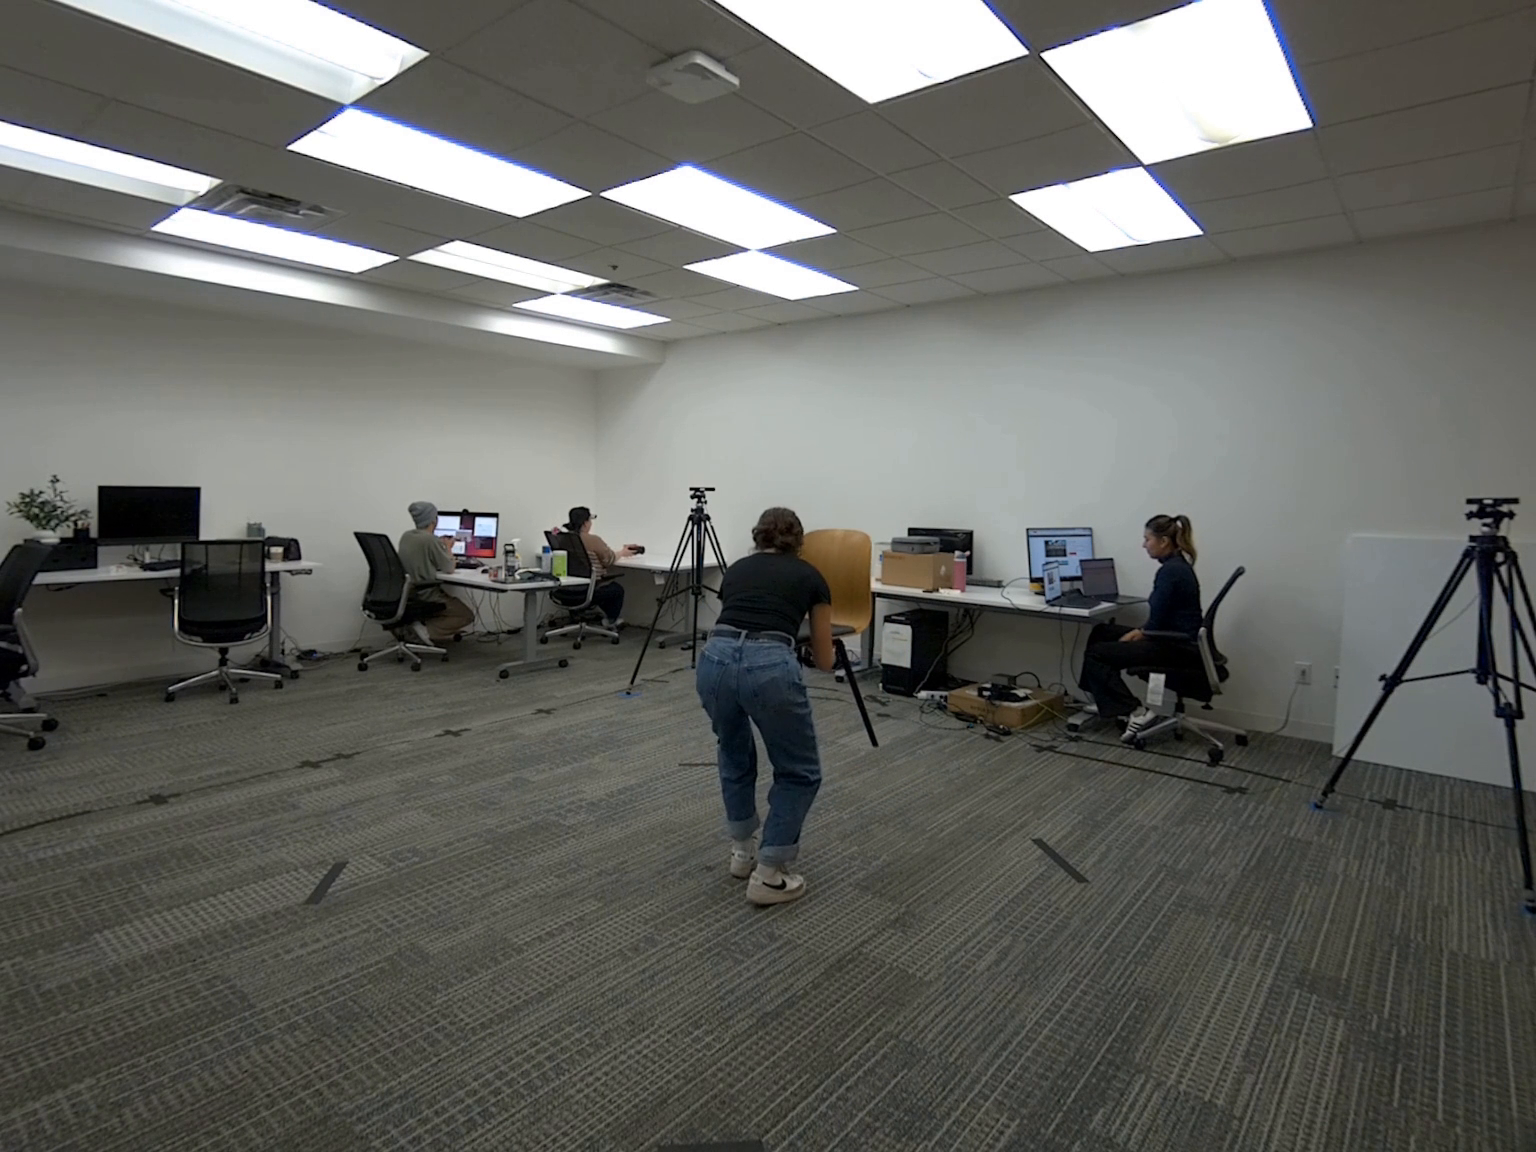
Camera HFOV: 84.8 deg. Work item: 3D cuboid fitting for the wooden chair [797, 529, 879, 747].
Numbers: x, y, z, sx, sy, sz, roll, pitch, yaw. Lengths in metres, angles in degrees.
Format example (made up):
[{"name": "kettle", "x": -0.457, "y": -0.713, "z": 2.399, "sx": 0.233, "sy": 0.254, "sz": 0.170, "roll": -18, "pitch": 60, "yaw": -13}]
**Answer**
[{"name": "wooden chair", "x": 0.113, "y": 0.258, "z": 3.332, "sx": 0.507, "sy": 0.875, "sz": 0.495, "roll": 0, "pitch": 5, "yaw": -44}]
